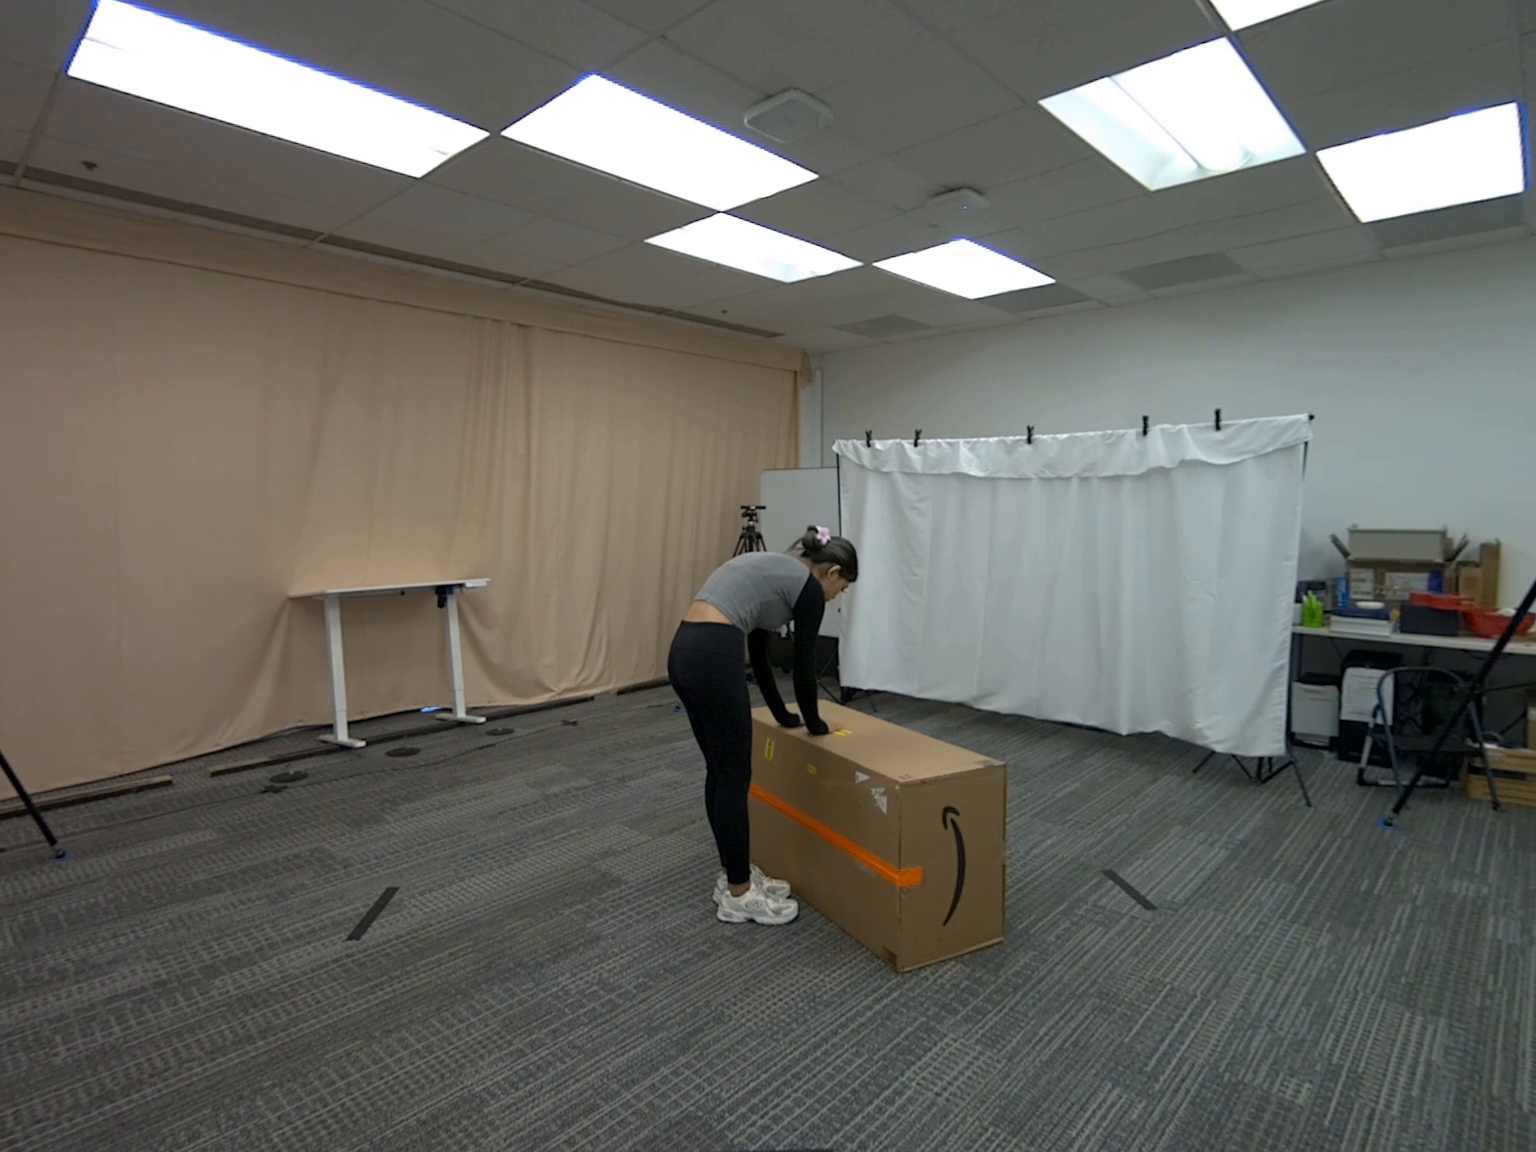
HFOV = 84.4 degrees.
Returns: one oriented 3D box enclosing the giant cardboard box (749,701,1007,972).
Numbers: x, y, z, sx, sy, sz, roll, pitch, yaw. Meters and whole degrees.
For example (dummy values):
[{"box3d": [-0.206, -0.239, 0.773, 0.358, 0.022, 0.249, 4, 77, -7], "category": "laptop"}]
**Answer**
[{"box3d": [0.319, 0.851, 3.033, 0.415, 0.576, 1.055, -2, 4, -29], "category": "giant cardboard box"}]
